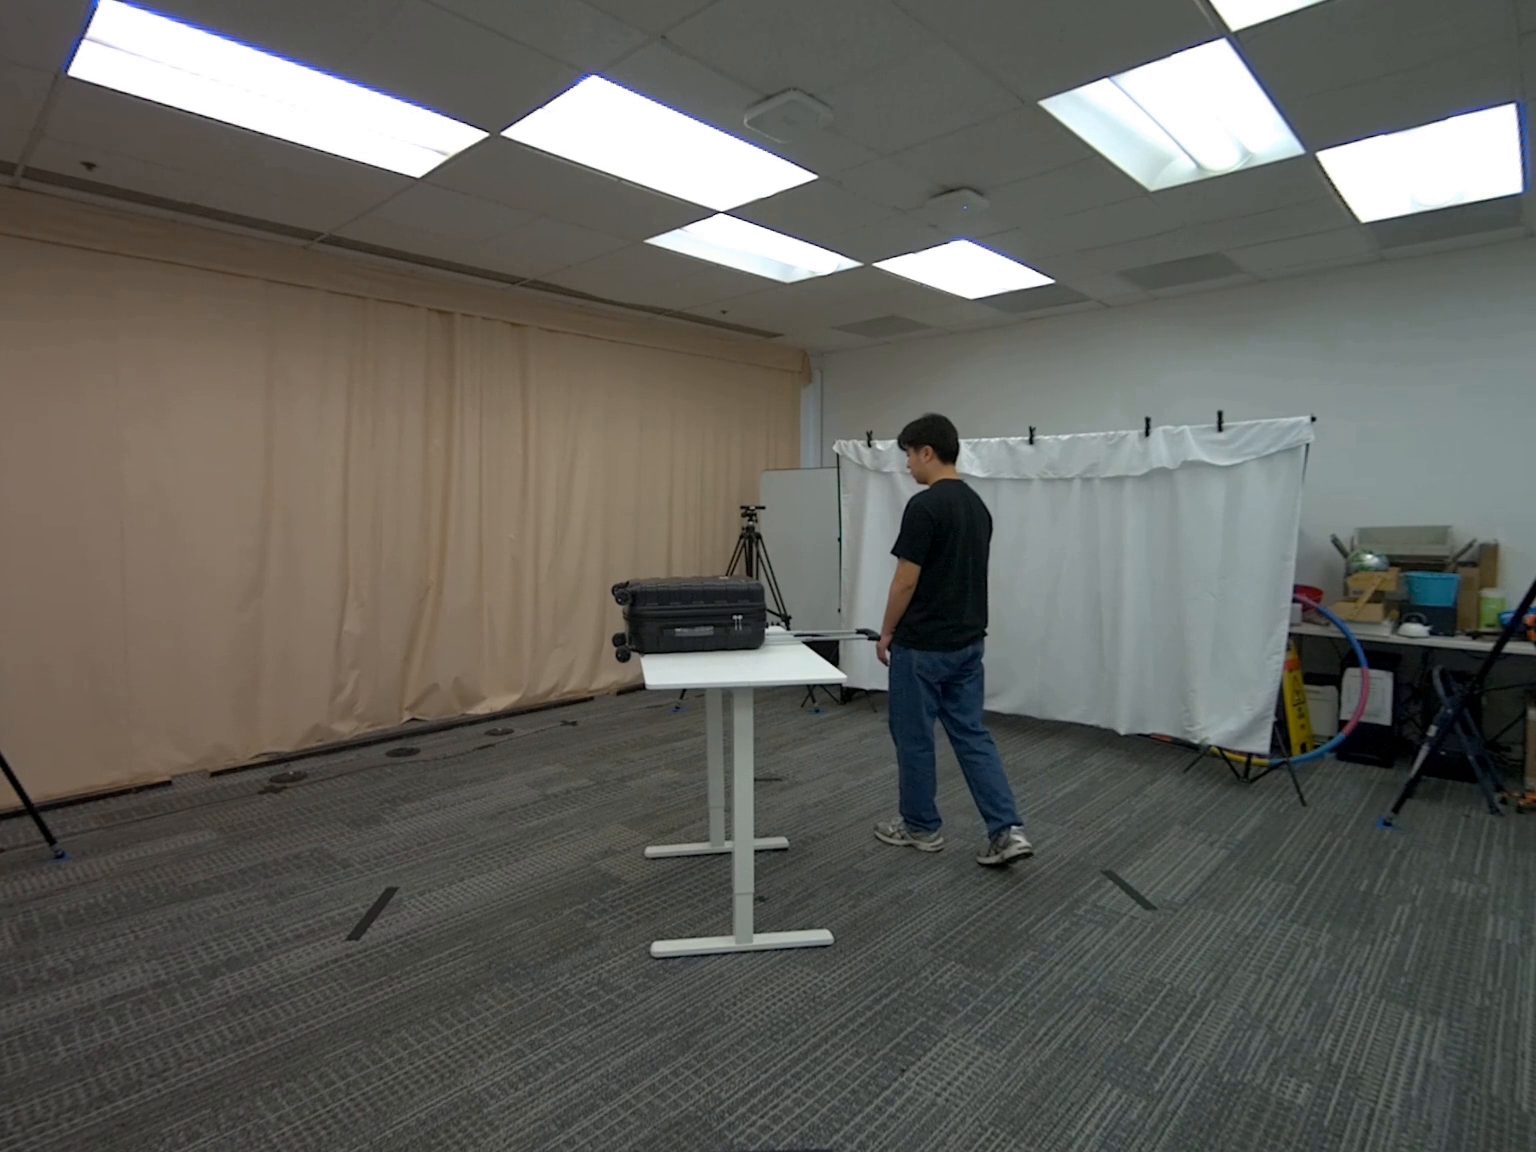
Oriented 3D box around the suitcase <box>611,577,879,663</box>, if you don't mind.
[{"bbox_3d":[-0.084,0.128,3.107,0.969,0.256,0.389,-3,4,-10],"label":"suitcase"}]
